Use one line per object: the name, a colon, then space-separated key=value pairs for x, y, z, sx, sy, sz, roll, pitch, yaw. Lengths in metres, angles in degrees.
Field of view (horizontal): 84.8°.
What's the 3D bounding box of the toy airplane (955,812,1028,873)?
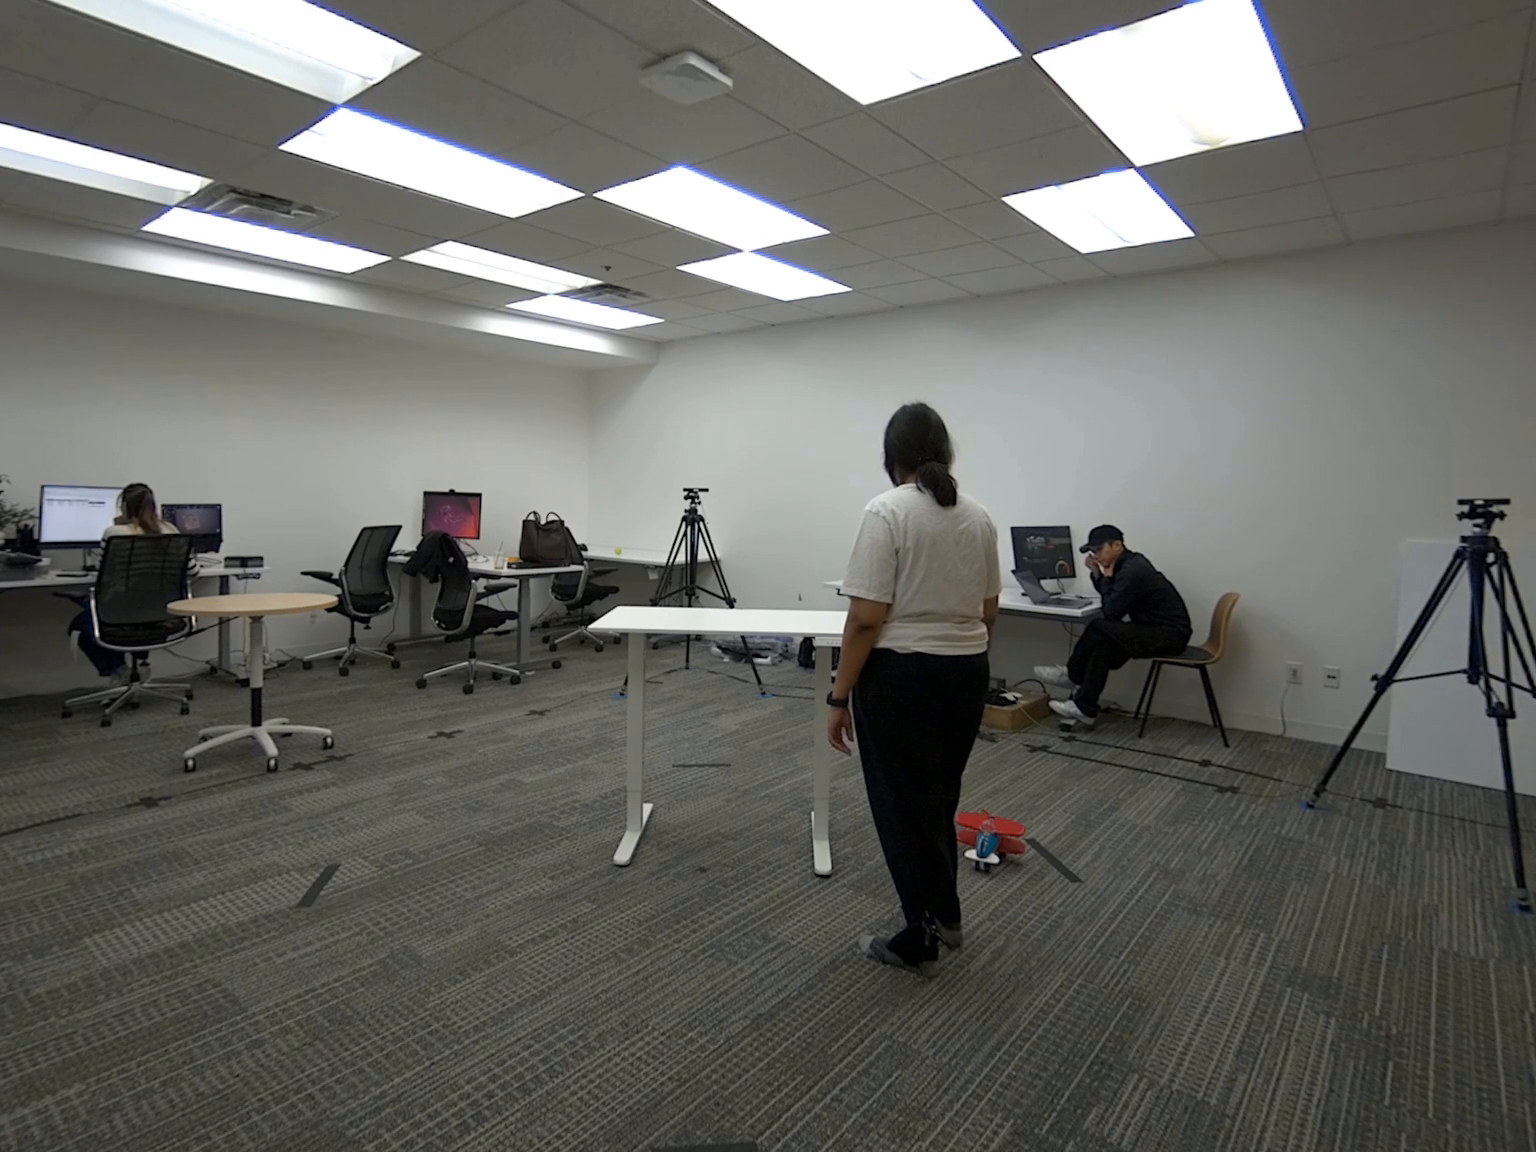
toy airplane: x=0.853 y=1.010 z=3.231 sx=0.251 sy=0.156 sz=0.260 roll=2 pitch=5 yaw=0
